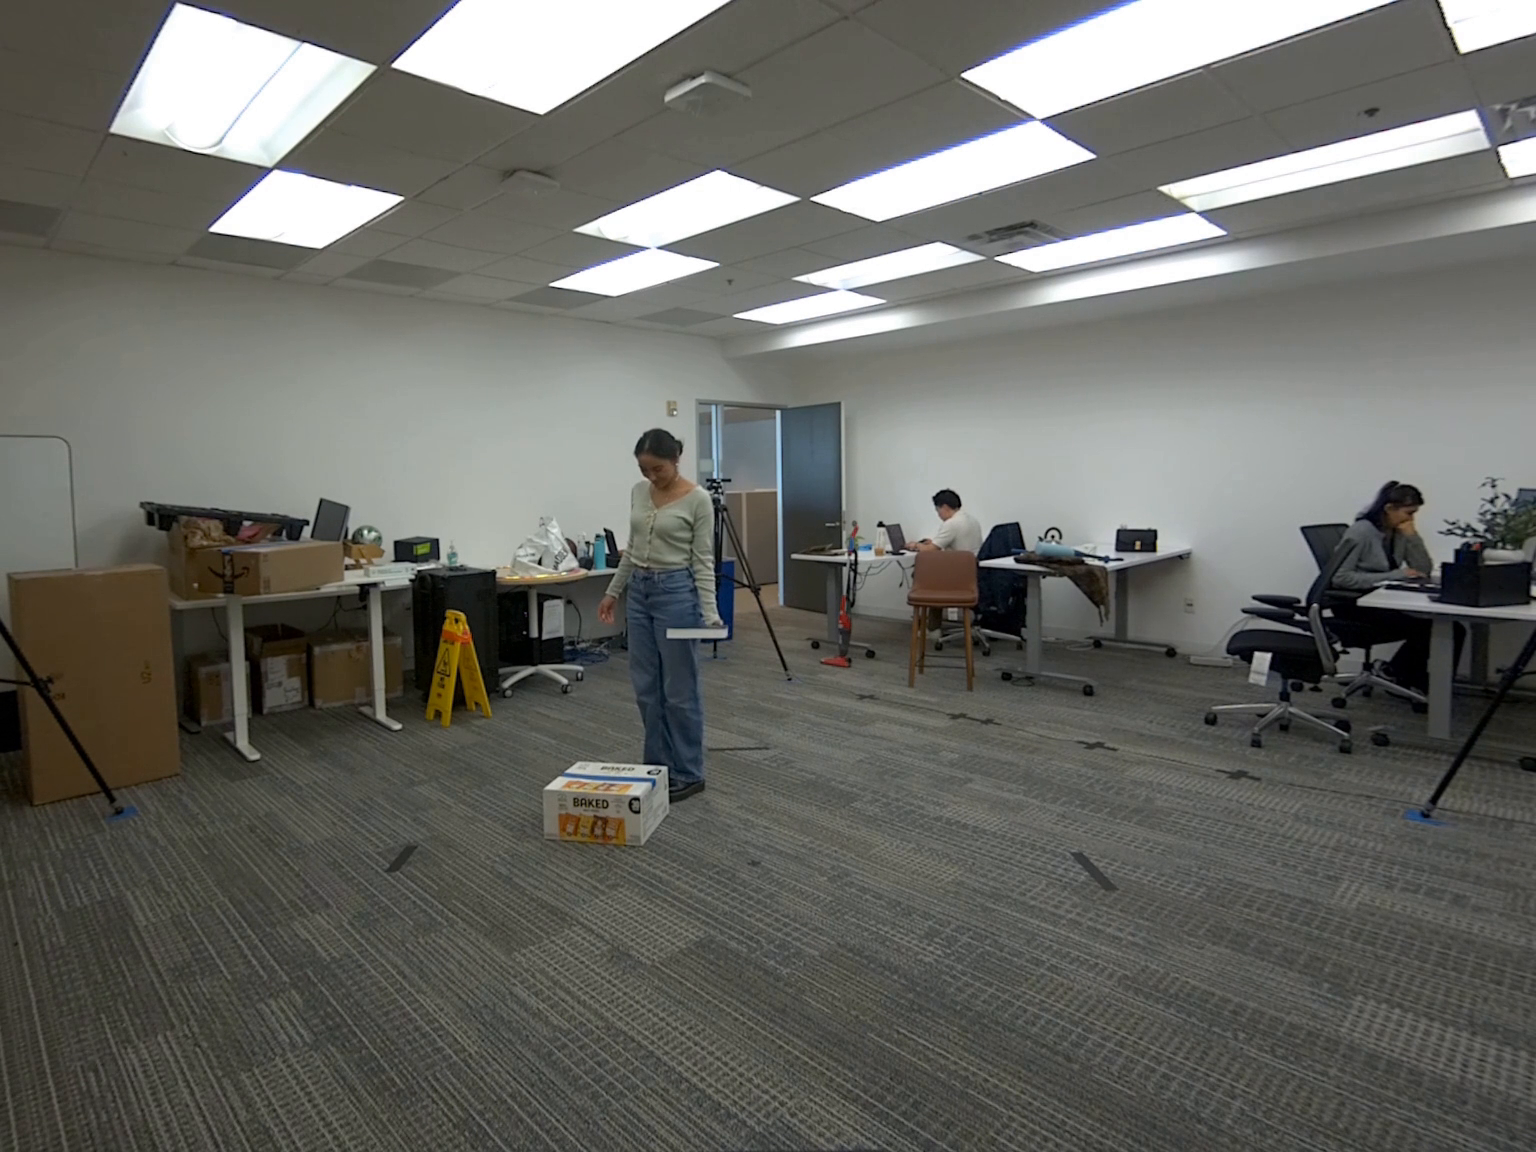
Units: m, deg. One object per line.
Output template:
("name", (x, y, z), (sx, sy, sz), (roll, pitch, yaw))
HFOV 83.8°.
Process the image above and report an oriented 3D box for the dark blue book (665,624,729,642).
("dark blue book", (-0.291, 0.233, 3.510), (0.246, 0.045, 0.163), (0, 0, 3))
